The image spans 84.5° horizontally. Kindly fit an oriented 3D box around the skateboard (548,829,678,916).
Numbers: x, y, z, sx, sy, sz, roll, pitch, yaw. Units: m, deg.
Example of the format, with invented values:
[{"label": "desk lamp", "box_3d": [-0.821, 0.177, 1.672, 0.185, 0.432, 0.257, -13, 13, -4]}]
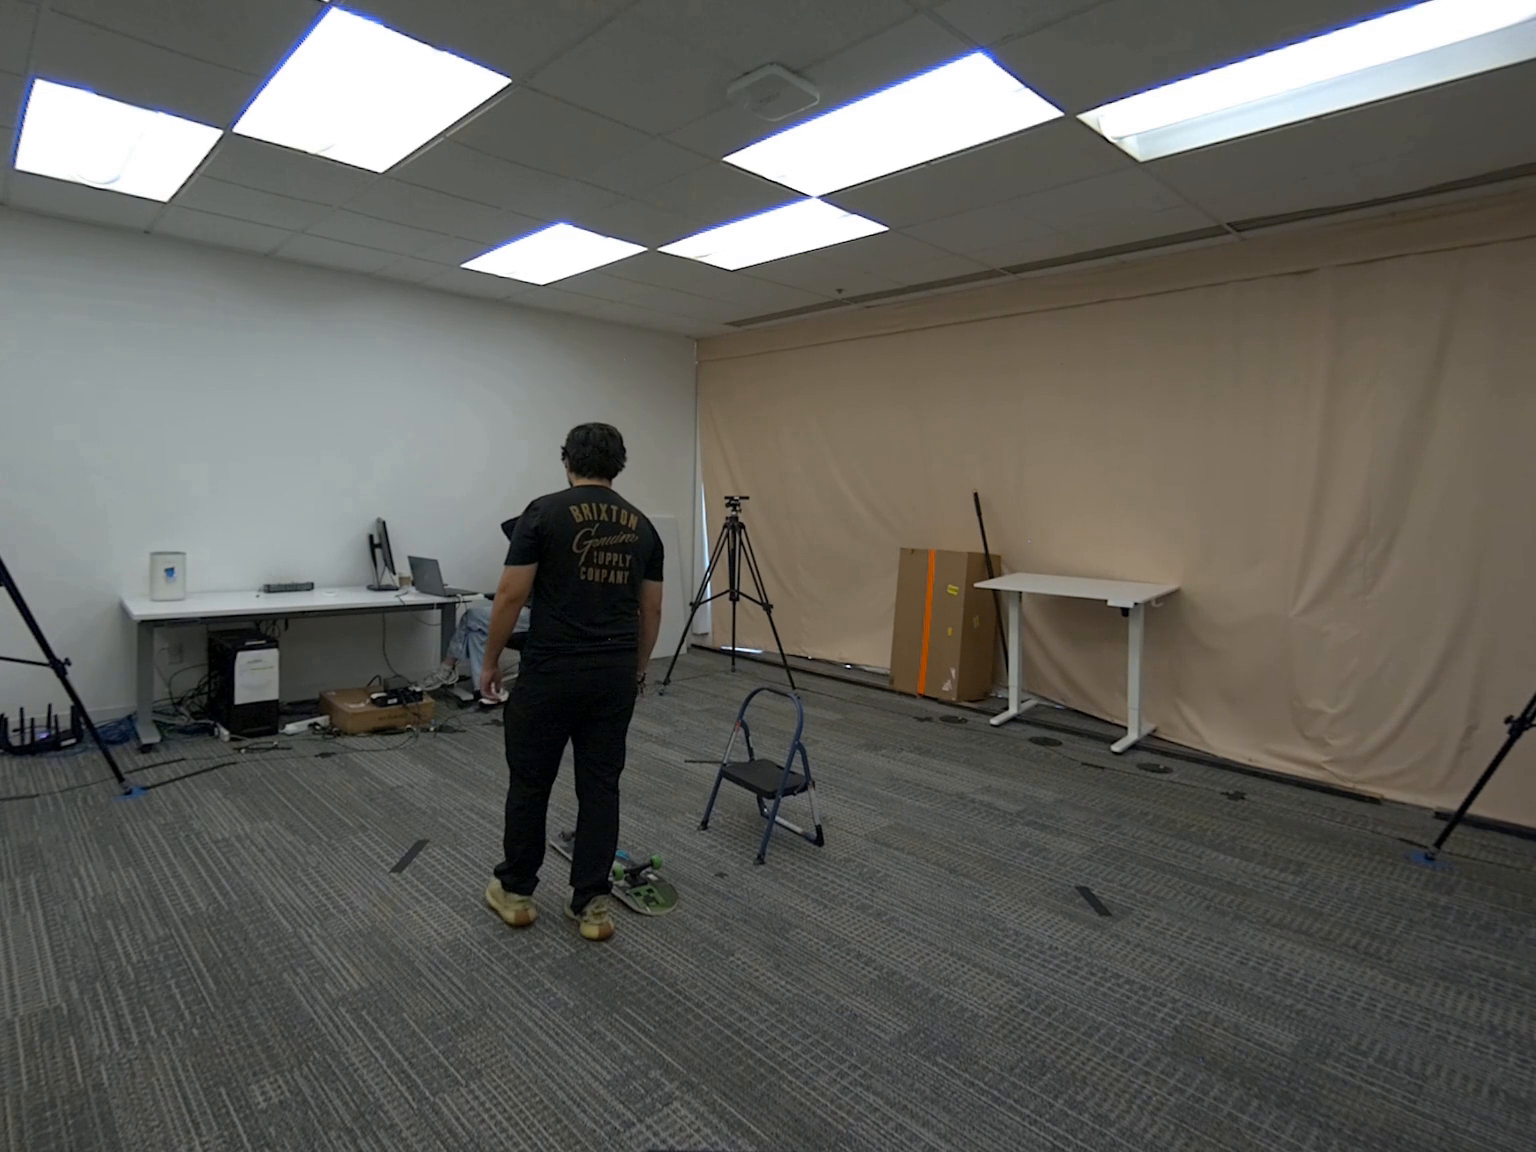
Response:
[{"label": "skateboard", "box_3d": [-0.595, 1.047, 3.121, 0.189, 0.110, 0.805, -3, 7, -38]}]
